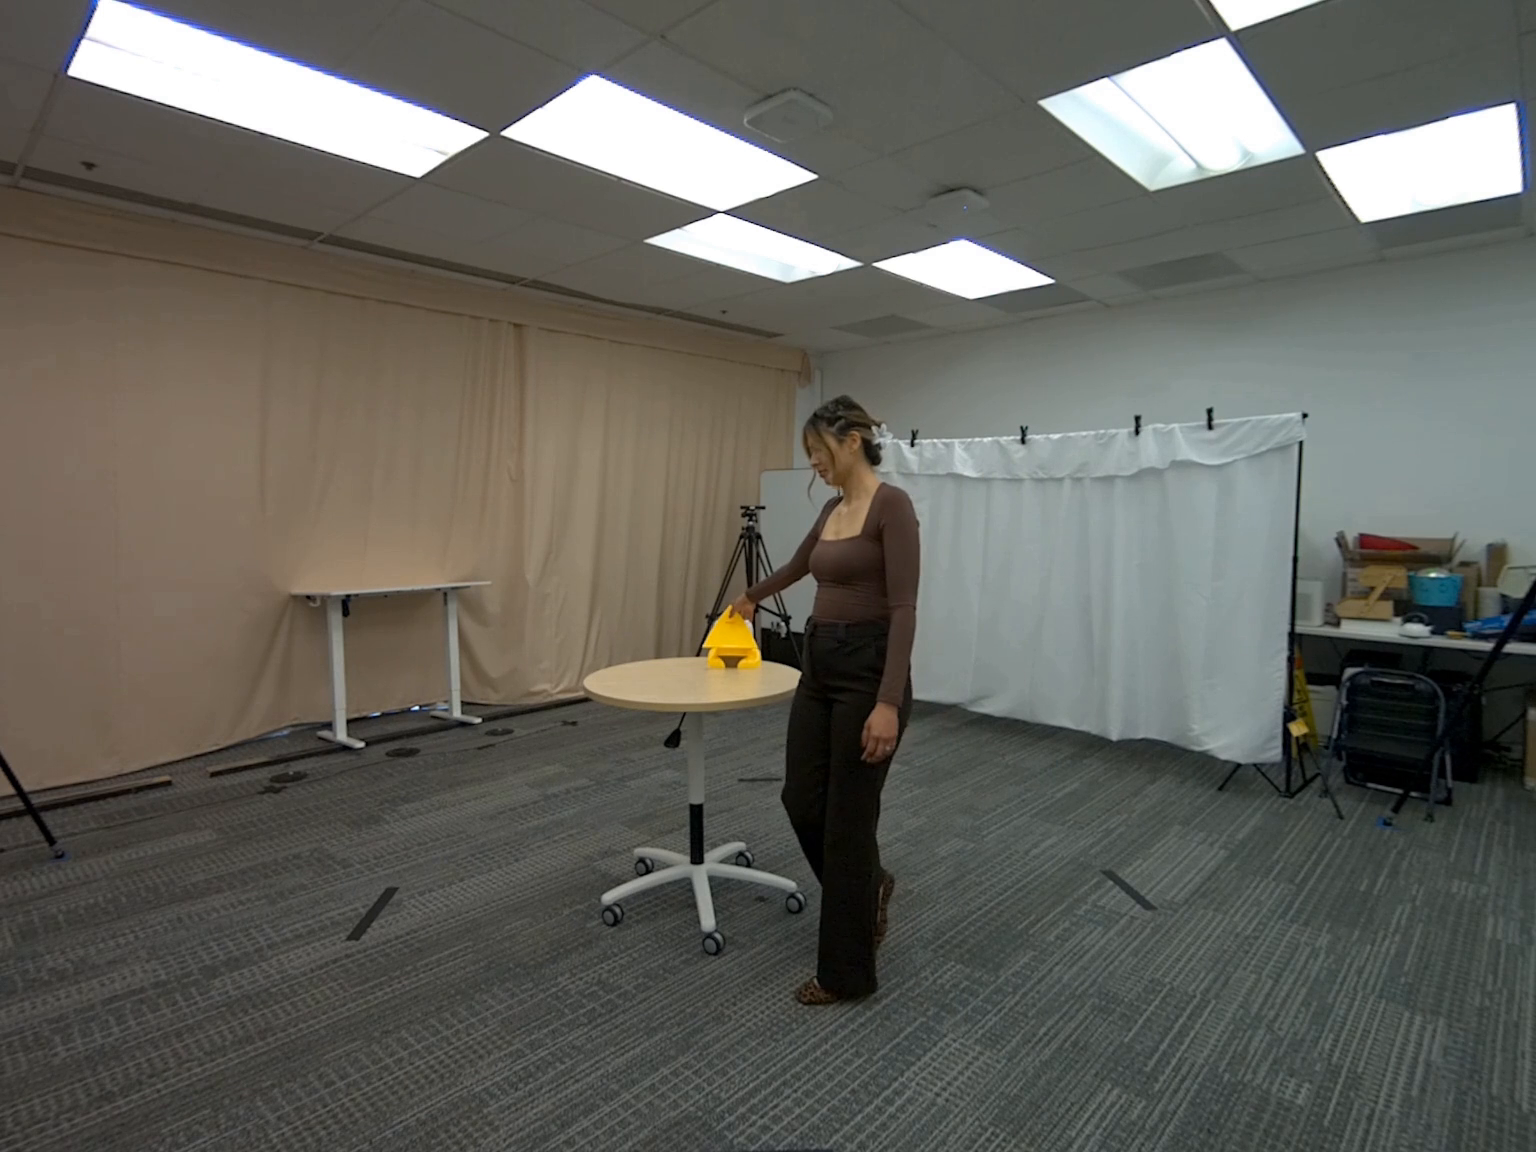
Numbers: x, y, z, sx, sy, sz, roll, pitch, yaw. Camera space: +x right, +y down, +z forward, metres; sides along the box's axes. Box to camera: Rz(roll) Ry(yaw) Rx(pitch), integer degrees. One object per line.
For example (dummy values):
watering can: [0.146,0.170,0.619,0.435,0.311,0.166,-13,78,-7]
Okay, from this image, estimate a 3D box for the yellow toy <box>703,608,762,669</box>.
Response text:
yellow toy: [-0.124,0.215,3.146,0.207,0.230,0.191,0,4,9]
